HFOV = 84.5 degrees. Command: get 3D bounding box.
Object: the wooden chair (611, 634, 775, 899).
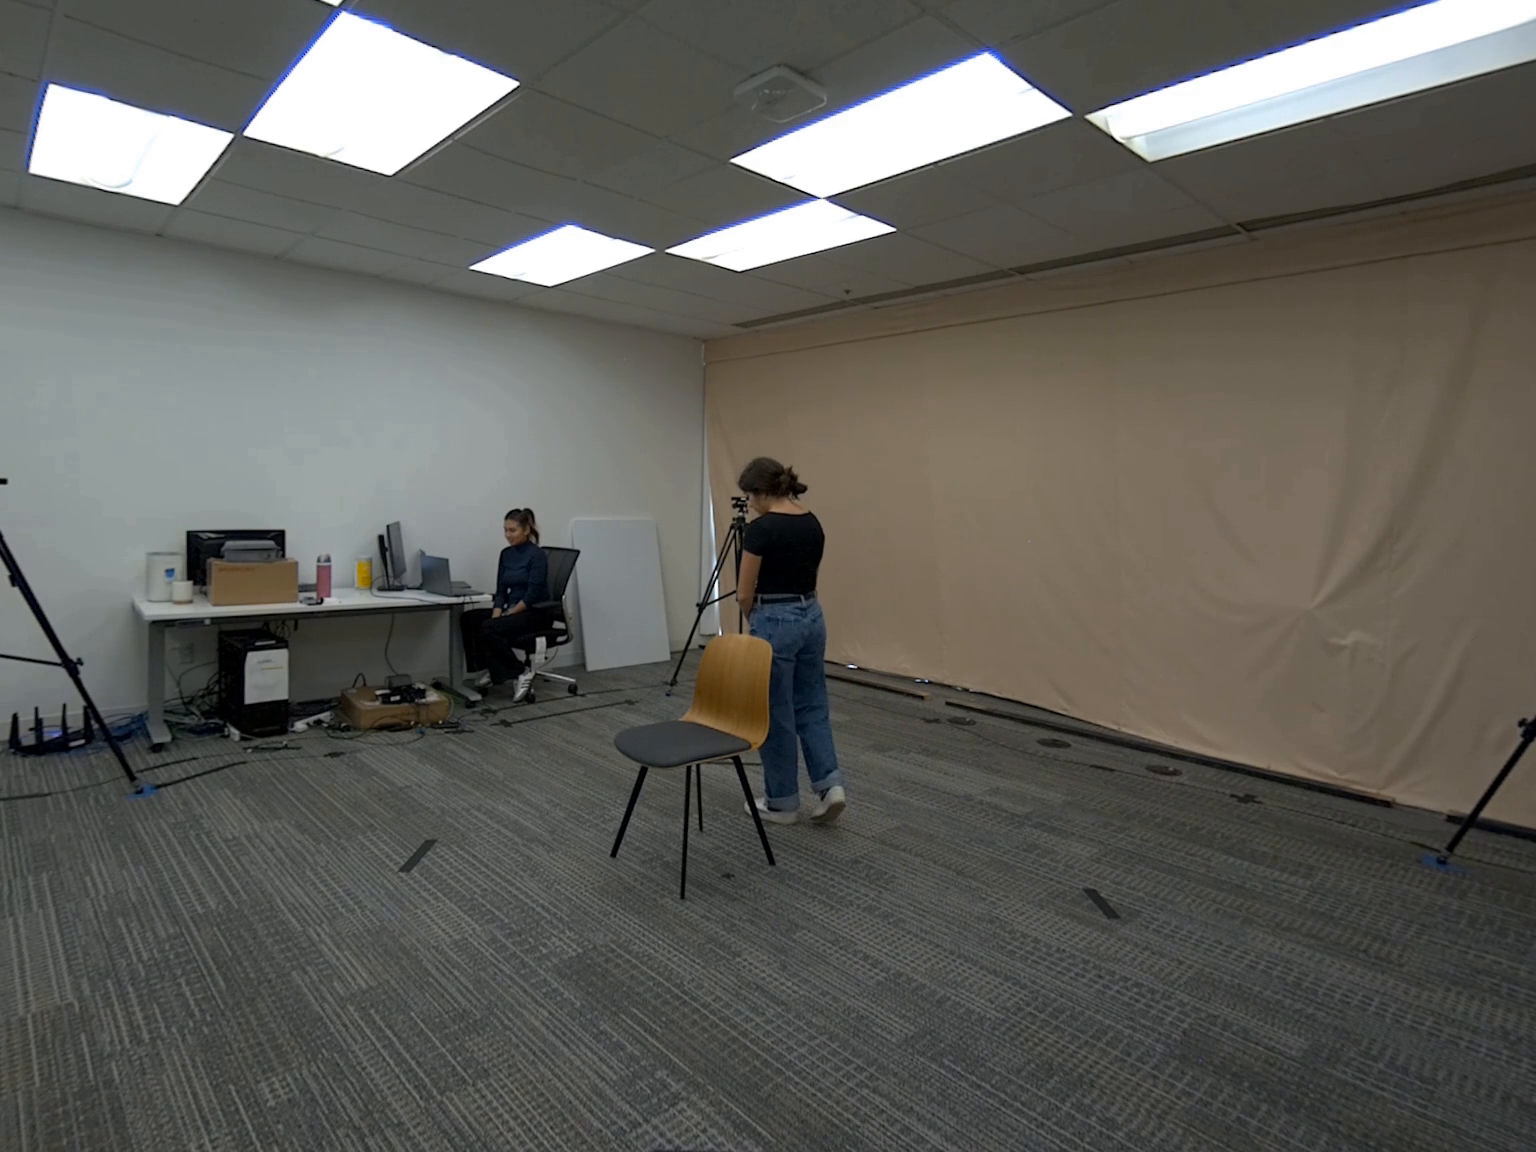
[{"bbox_3d":[-0.291,0.671,3.188,0.510,0.877,0.490,4,0,-43],"label":"wooden chair"}]
